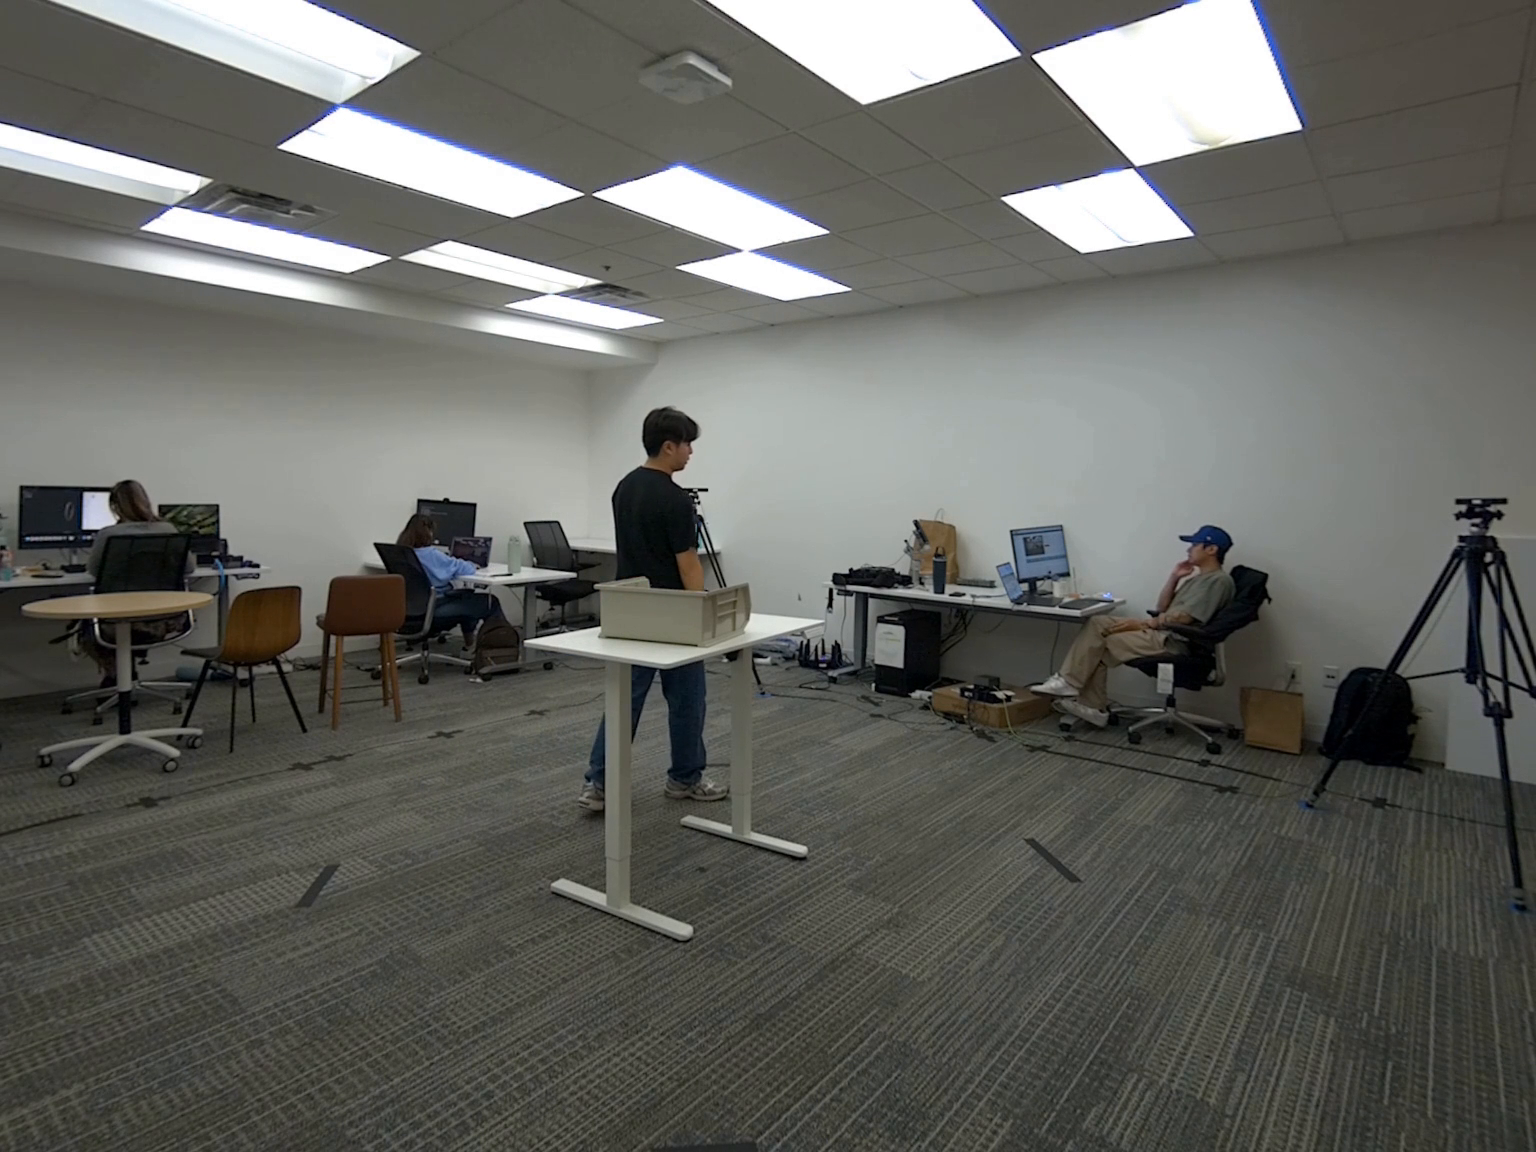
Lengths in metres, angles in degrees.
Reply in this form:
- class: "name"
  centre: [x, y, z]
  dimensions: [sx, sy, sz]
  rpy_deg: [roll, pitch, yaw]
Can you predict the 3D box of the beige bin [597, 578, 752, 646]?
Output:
- class: "beige bin"
  centre: [-0.331, 0.116, 2.941]
  dimensions: [0.433, 0.188, 0.370]
  rpy_deg: [3, 7, 24]
